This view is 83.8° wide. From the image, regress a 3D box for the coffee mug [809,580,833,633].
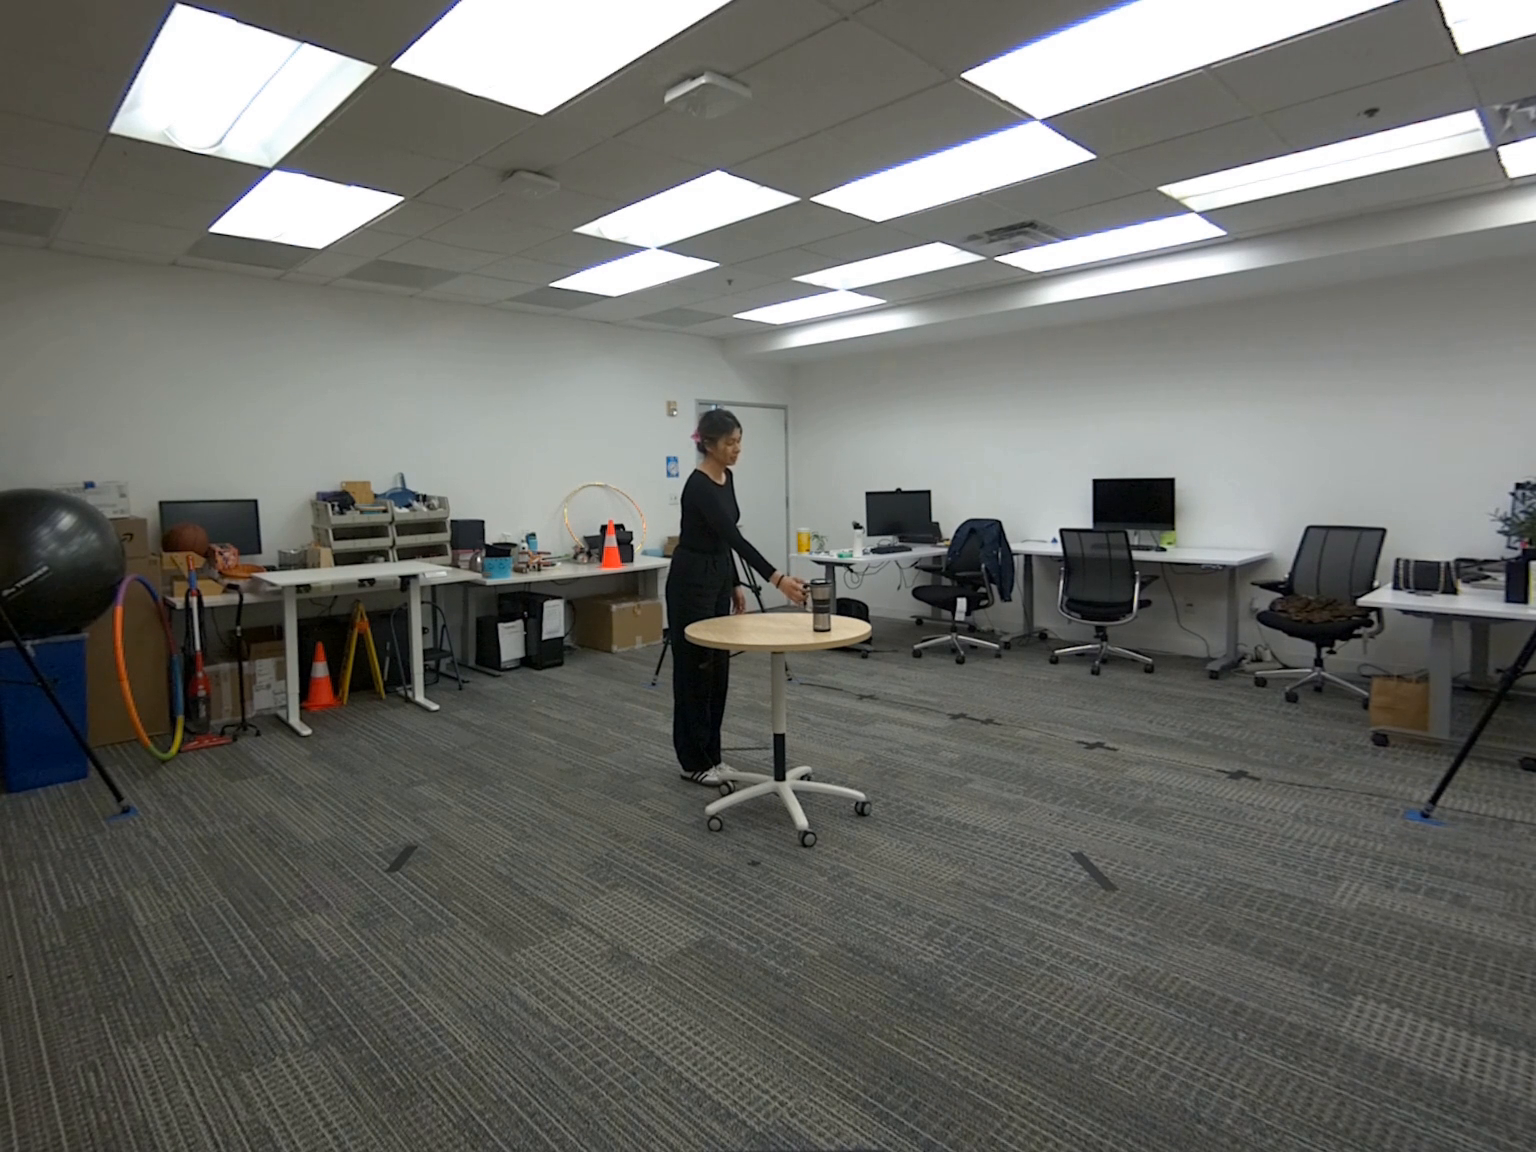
[{"bbox_3d":[0.202,0.116,3.420,0.086,0.201,0.125,-6,9,-29],"label":"coffee mug"}]
